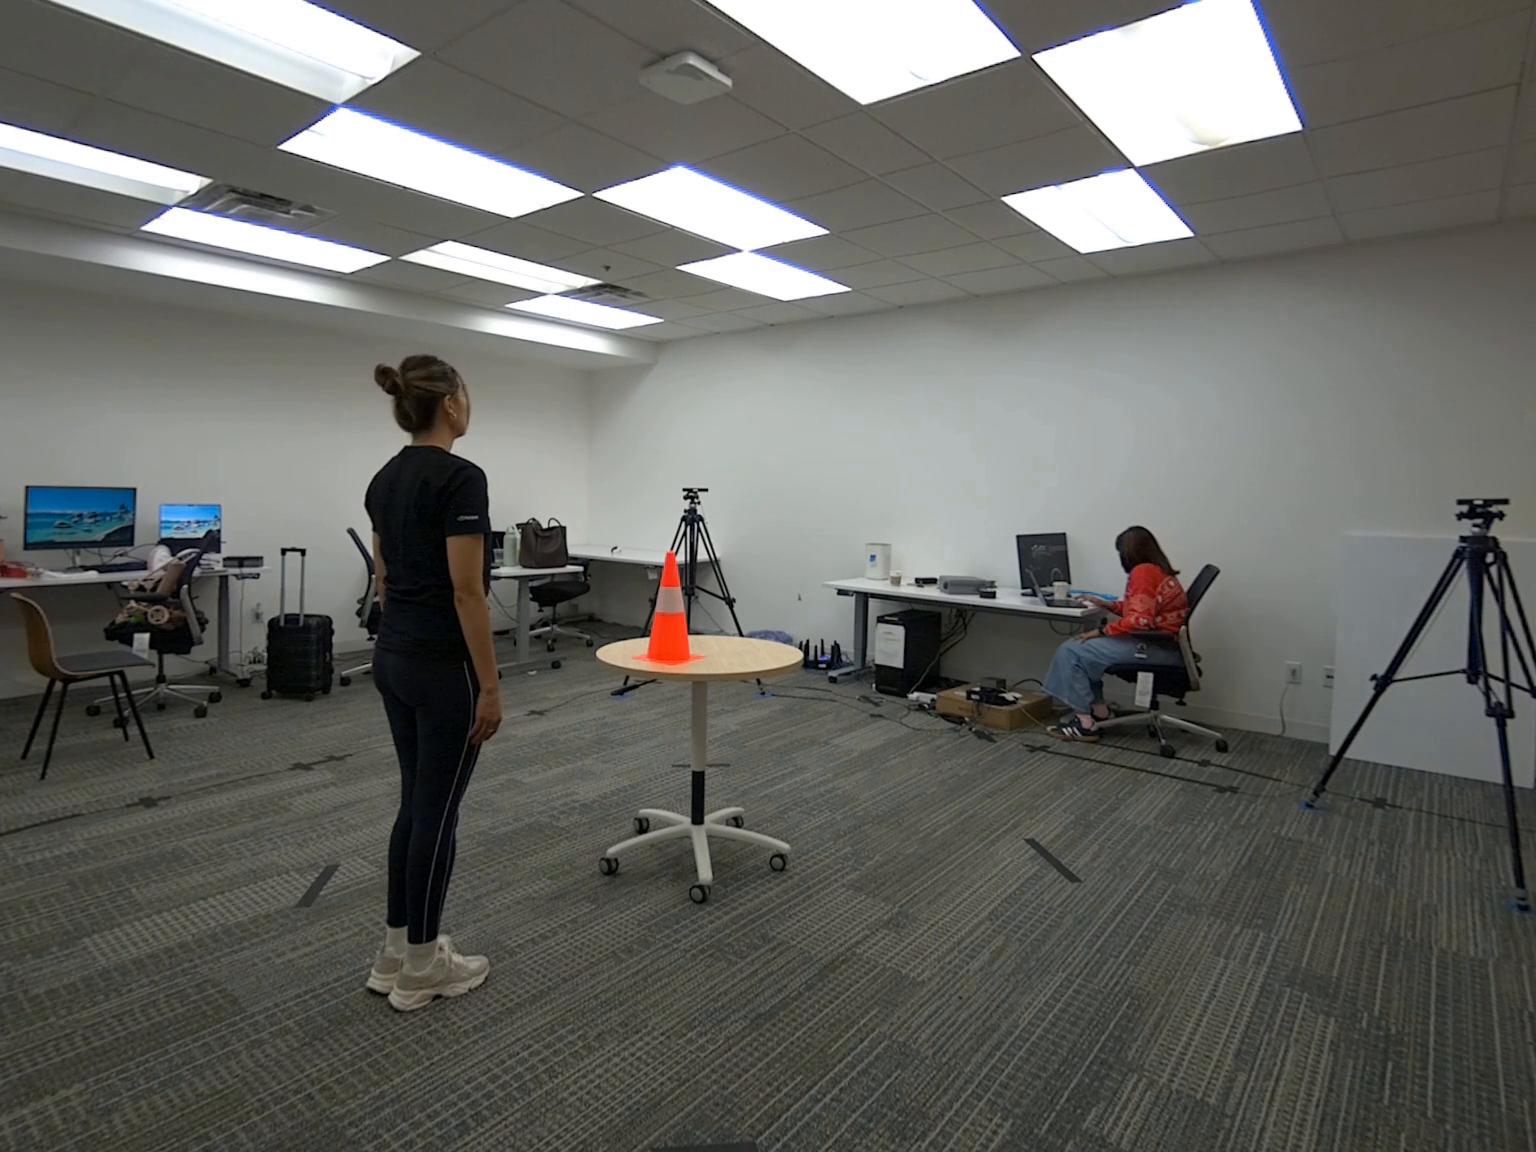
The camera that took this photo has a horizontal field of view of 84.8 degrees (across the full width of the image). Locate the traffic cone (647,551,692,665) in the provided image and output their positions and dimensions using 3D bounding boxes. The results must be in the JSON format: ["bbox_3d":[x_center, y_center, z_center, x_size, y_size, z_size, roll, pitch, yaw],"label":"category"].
[{"bbox_3d":[-0.371,0.106,3.030,0.209,0.383,0.200,1,4,29],"label":"traffic cone"}]
